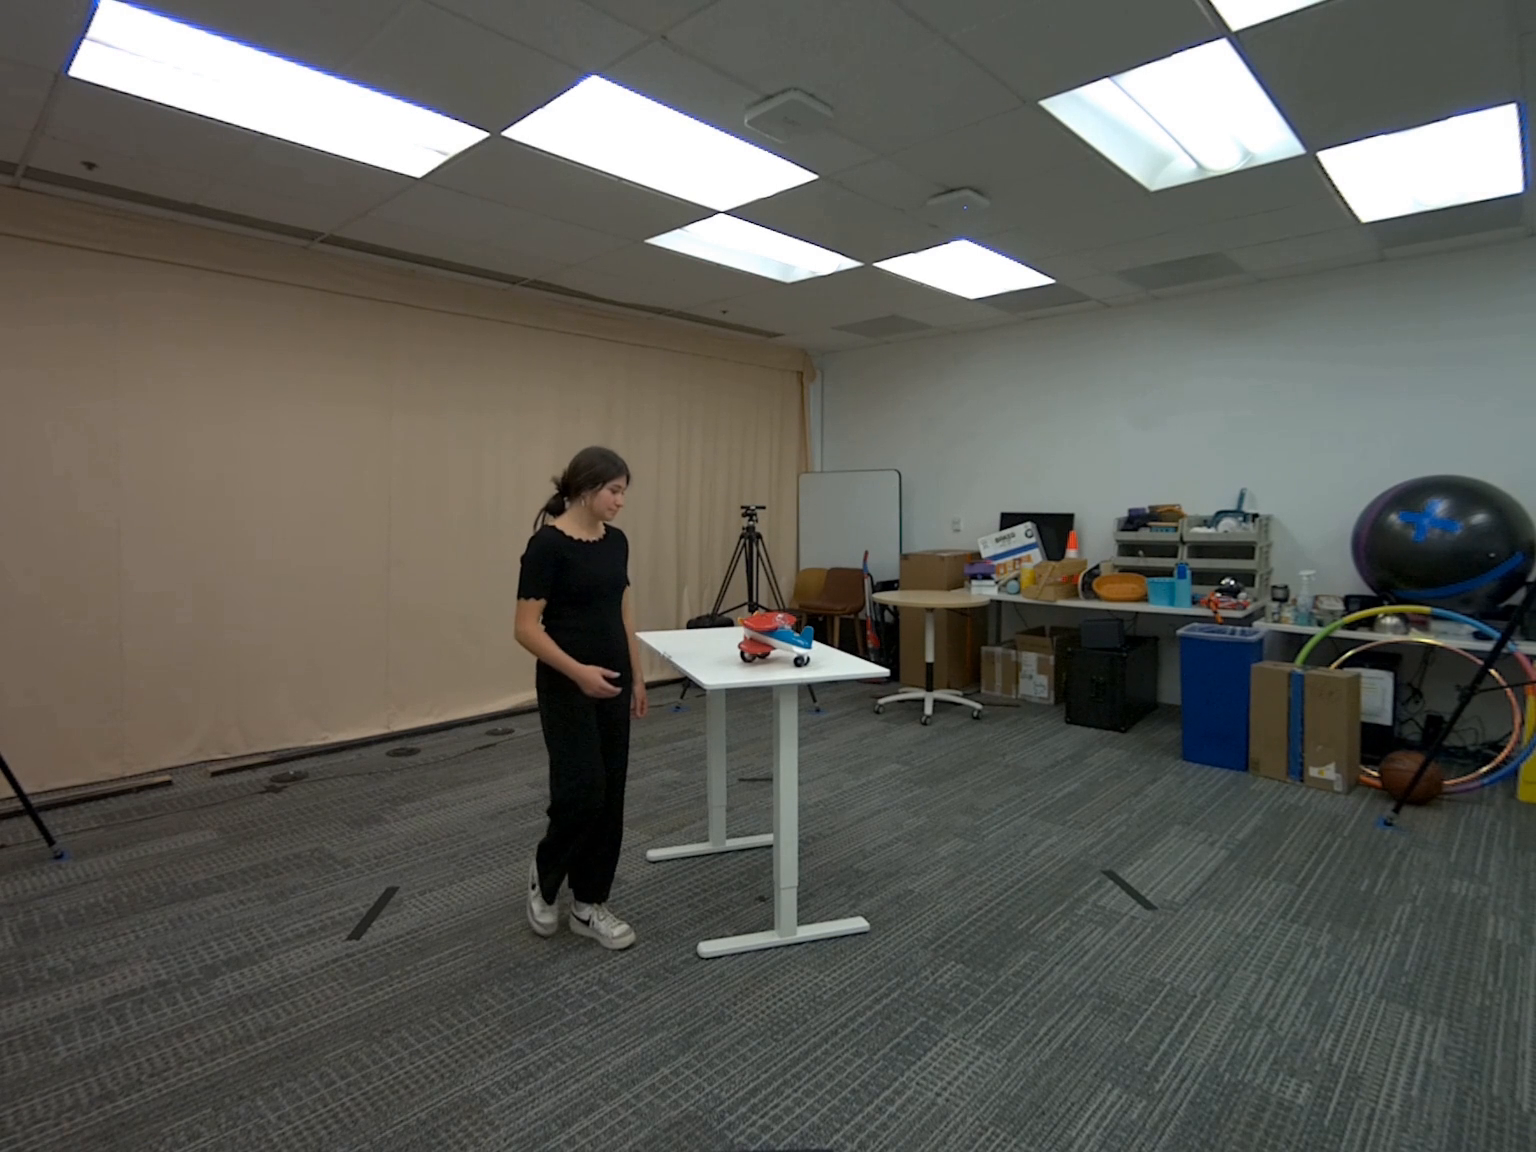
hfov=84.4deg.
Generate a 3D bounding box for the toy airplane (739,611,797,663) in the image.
[{"bbox_3d":[0.037,0.206,2.745,0.261,0.156,0.250,0,5,5],"label":"toy airplane"}]
